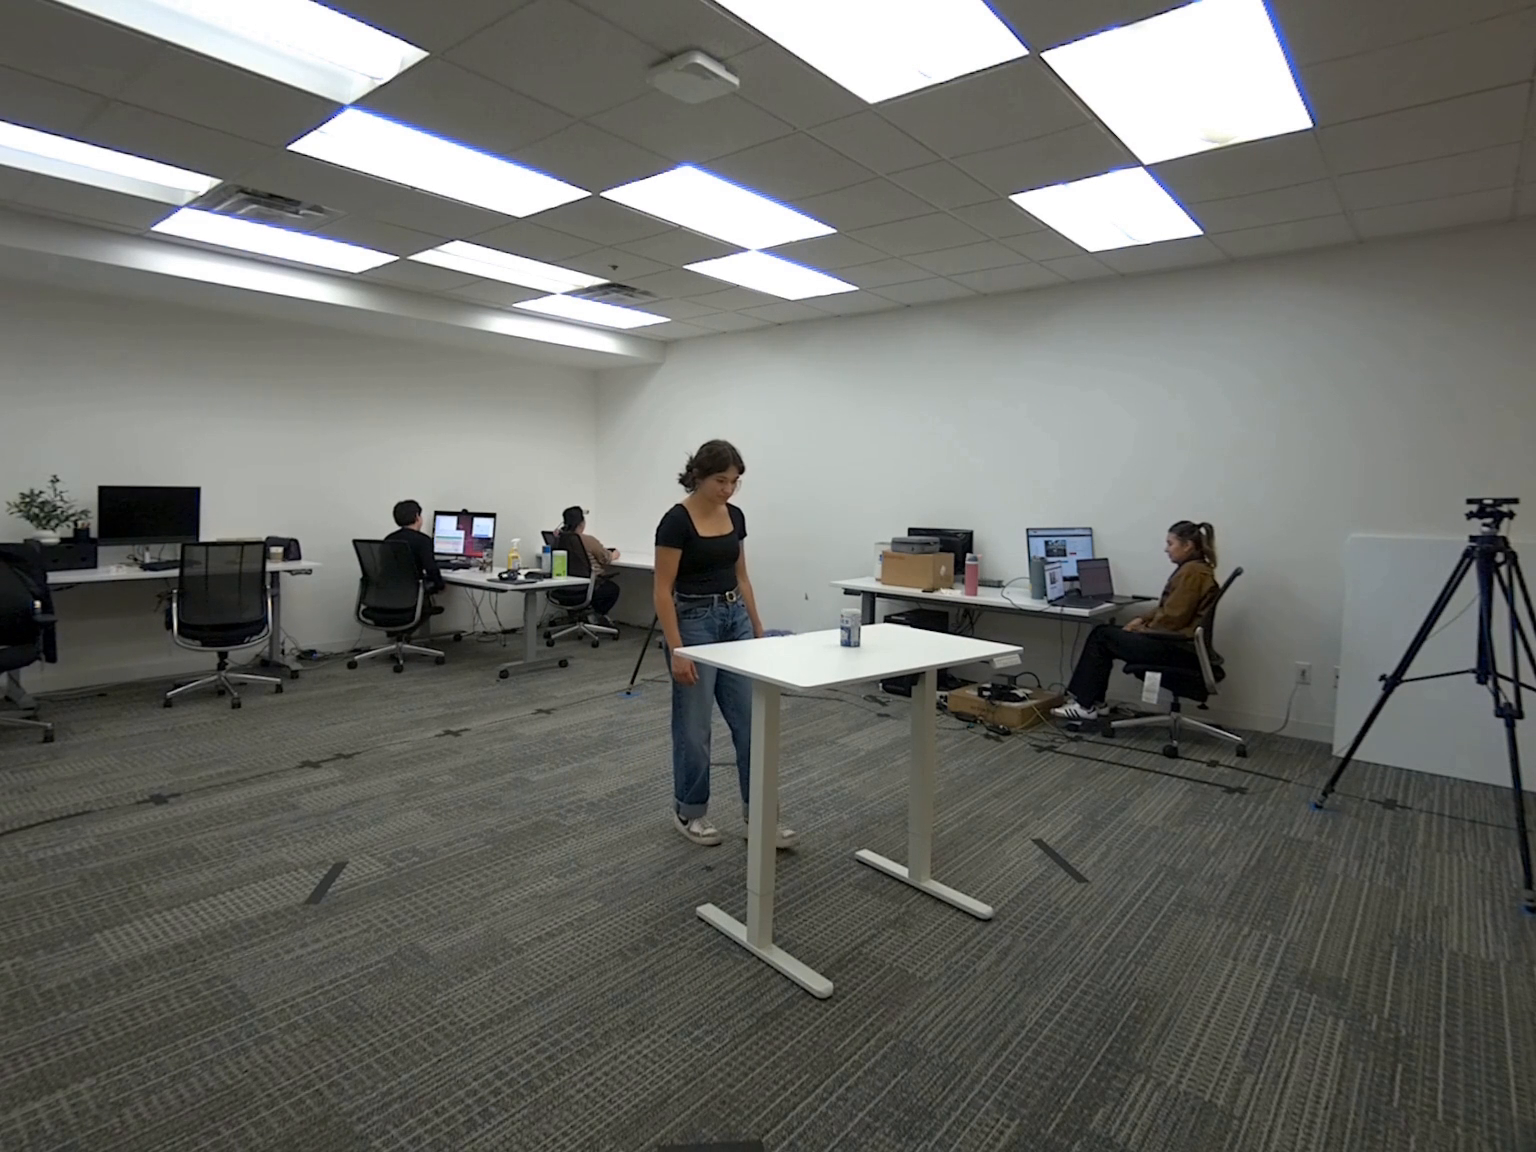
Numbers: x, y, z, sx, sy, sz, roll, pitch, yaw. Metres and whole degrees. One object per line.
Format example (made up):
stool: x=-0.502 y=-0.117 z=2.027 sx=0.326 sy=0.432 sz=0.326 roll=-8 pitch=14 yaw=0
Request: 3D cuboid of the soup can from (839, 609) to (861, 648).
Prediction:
soup can: x=0.263 y=0.170 z=2.783 sx=0.067 sy=0.121 sz=0.067 roll=-1 pitch=3 yaw=-2
